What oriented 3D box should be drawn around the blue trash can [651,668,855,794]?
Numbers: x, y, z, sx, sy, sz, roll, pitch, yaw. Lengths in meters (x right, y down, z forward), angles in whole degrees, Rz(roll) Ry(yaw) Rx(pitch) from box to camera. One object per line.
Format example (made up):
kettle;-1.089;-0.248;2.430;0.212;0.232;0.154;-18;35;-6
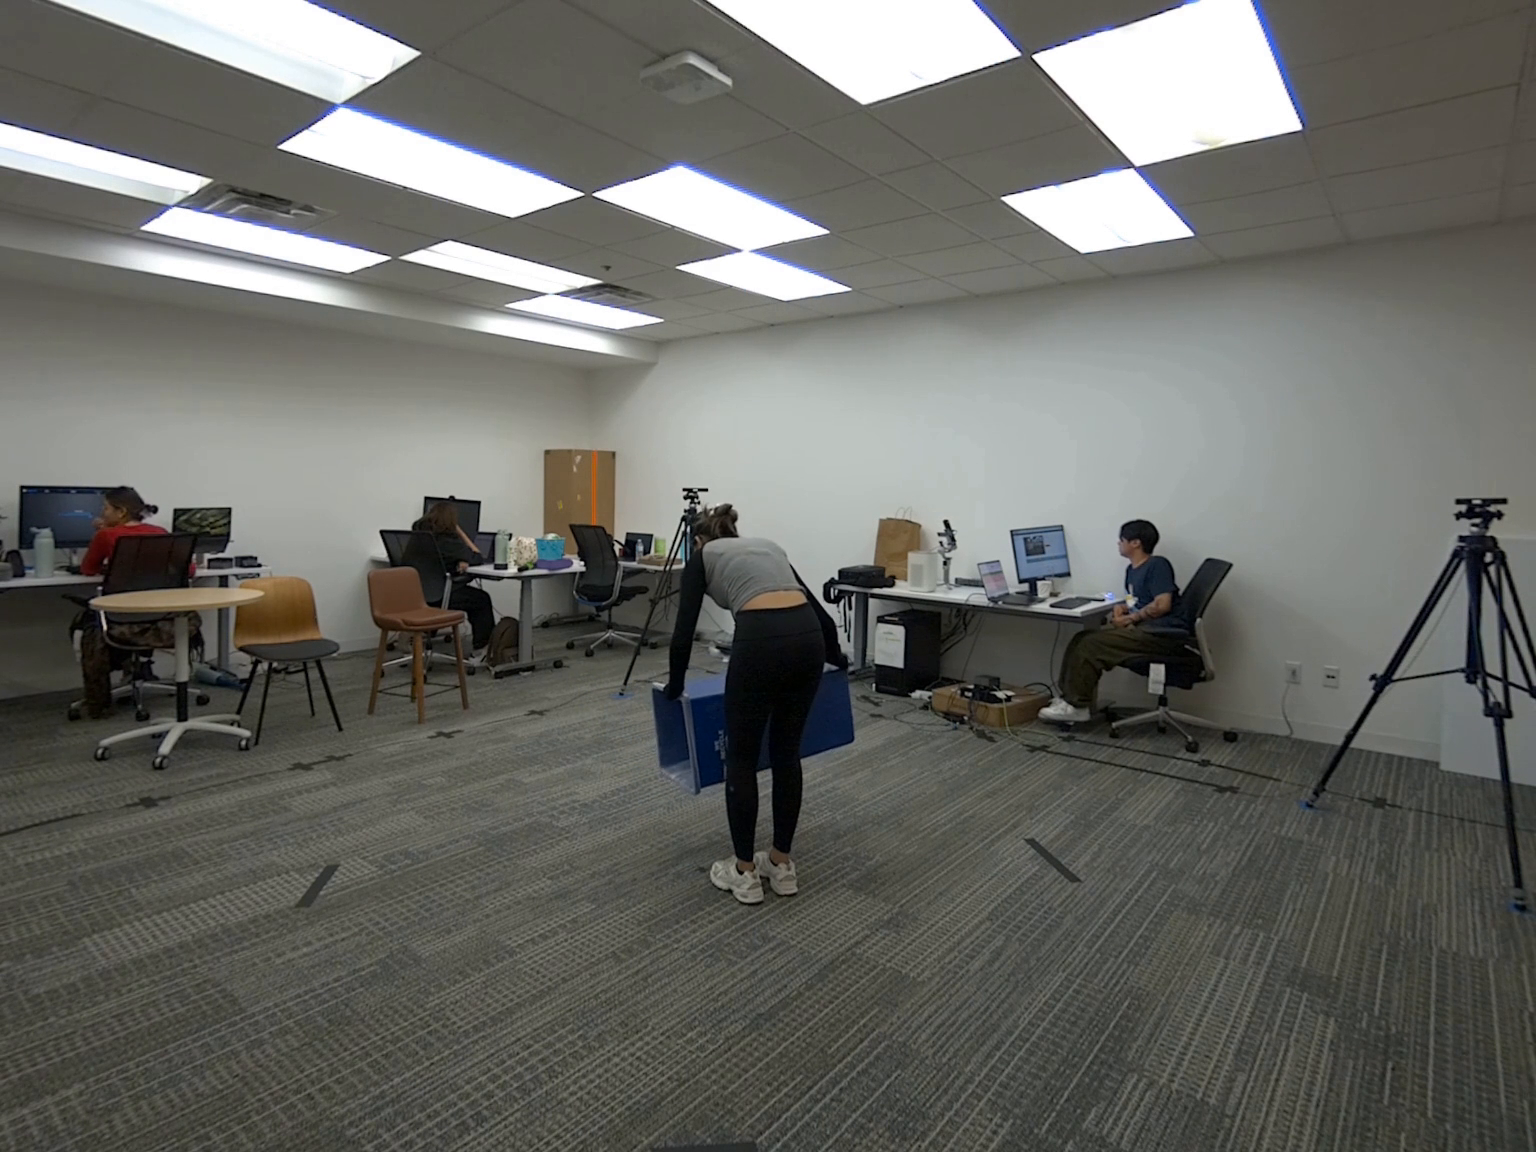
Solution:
blue trash can;-0.068;0.550;3.355;0.699;0.373;0.387;-9;3;-26
